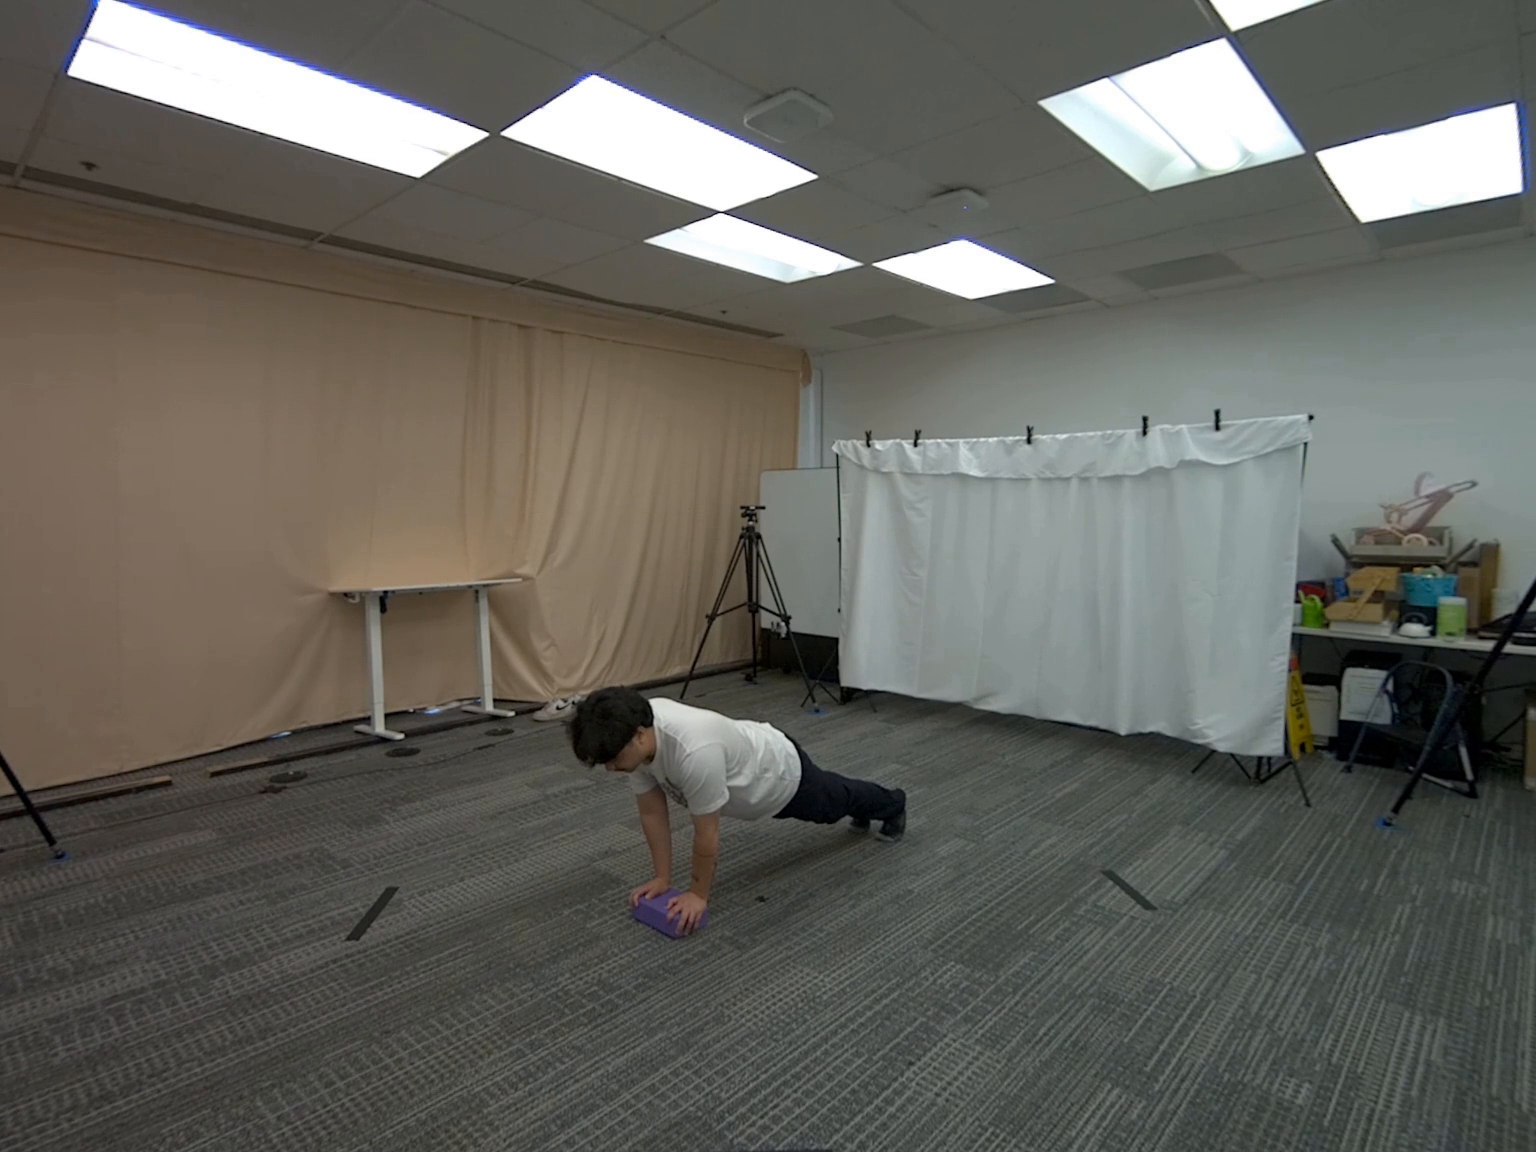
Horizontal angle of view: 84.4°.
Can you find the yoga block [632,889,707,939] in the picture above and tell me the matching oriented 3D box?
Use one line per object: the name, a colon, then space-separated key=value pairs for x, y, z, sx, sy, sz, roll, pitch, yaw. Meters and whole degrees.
yoga block: x=-0.327 y=1.123 z=2.822 sx=0.237 sy=0.076 sz=0.144 roll=4 pitch=7 yaw=42
